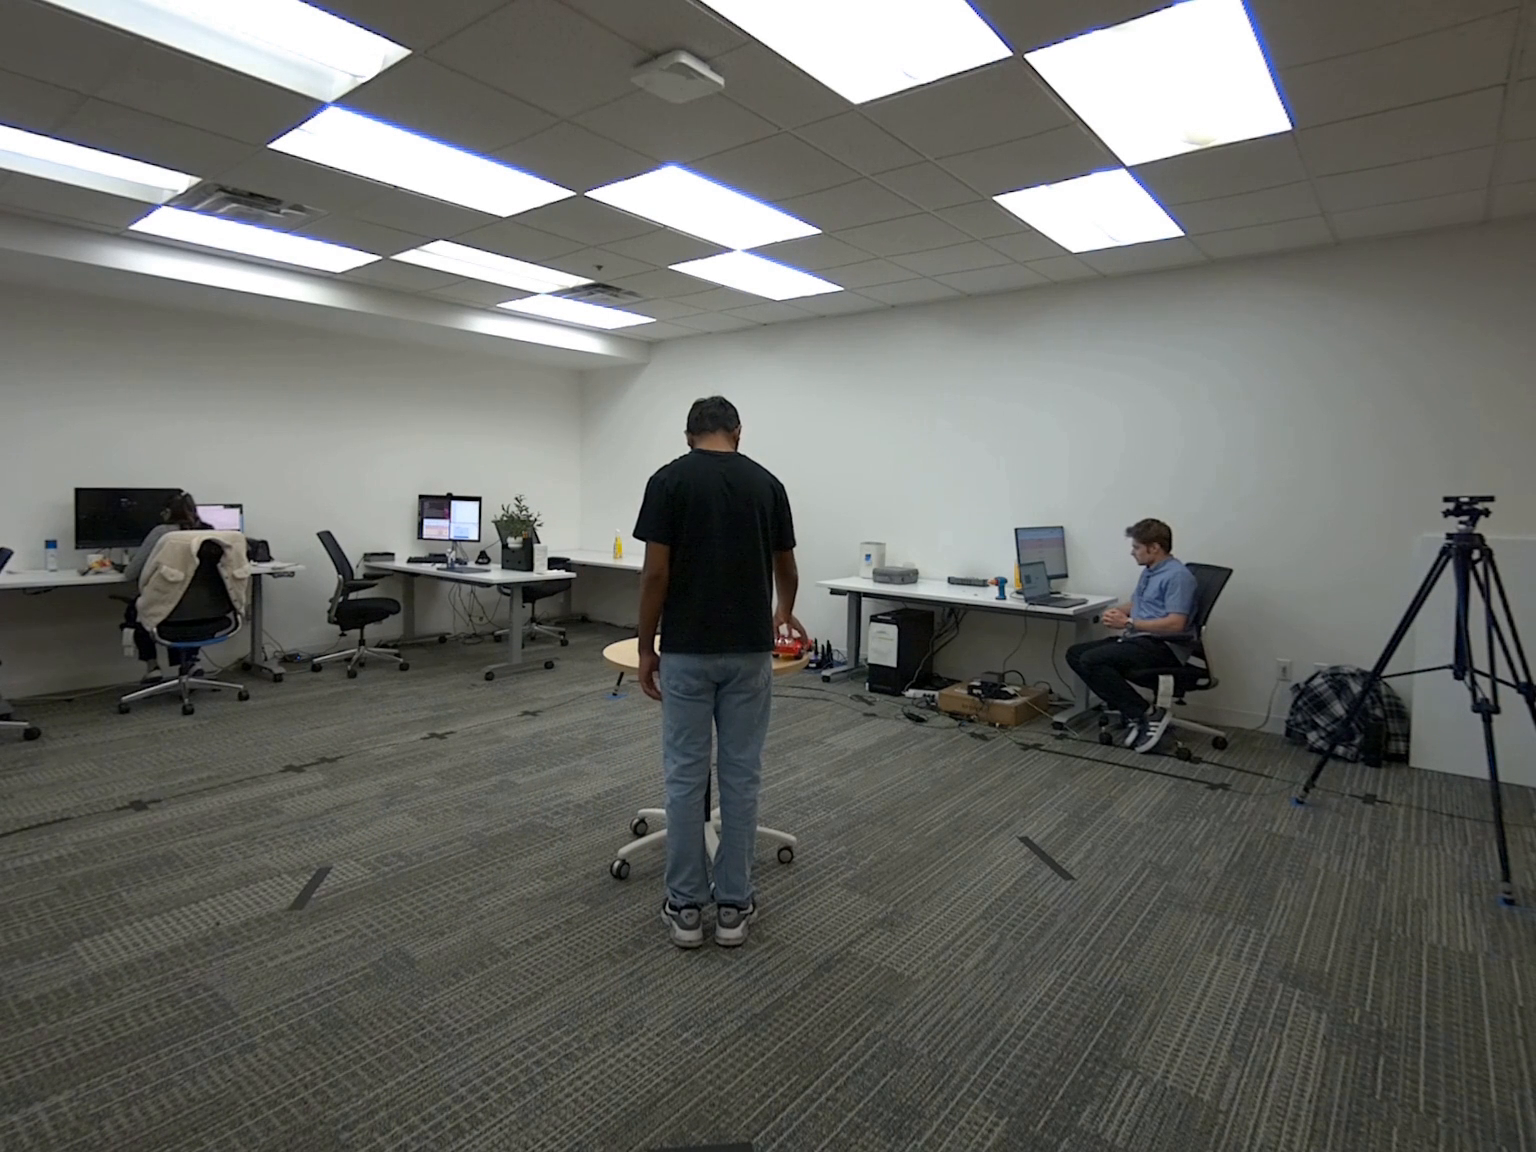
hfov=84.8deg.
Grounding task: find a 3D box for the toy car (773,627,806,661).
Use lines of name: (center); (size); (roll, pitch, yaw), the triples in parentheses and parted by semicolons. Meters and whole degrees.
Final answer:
toy car: (0.071, 0.260, 3.110); (0.133, 0.084, 0.247); (3, -6, 19)
